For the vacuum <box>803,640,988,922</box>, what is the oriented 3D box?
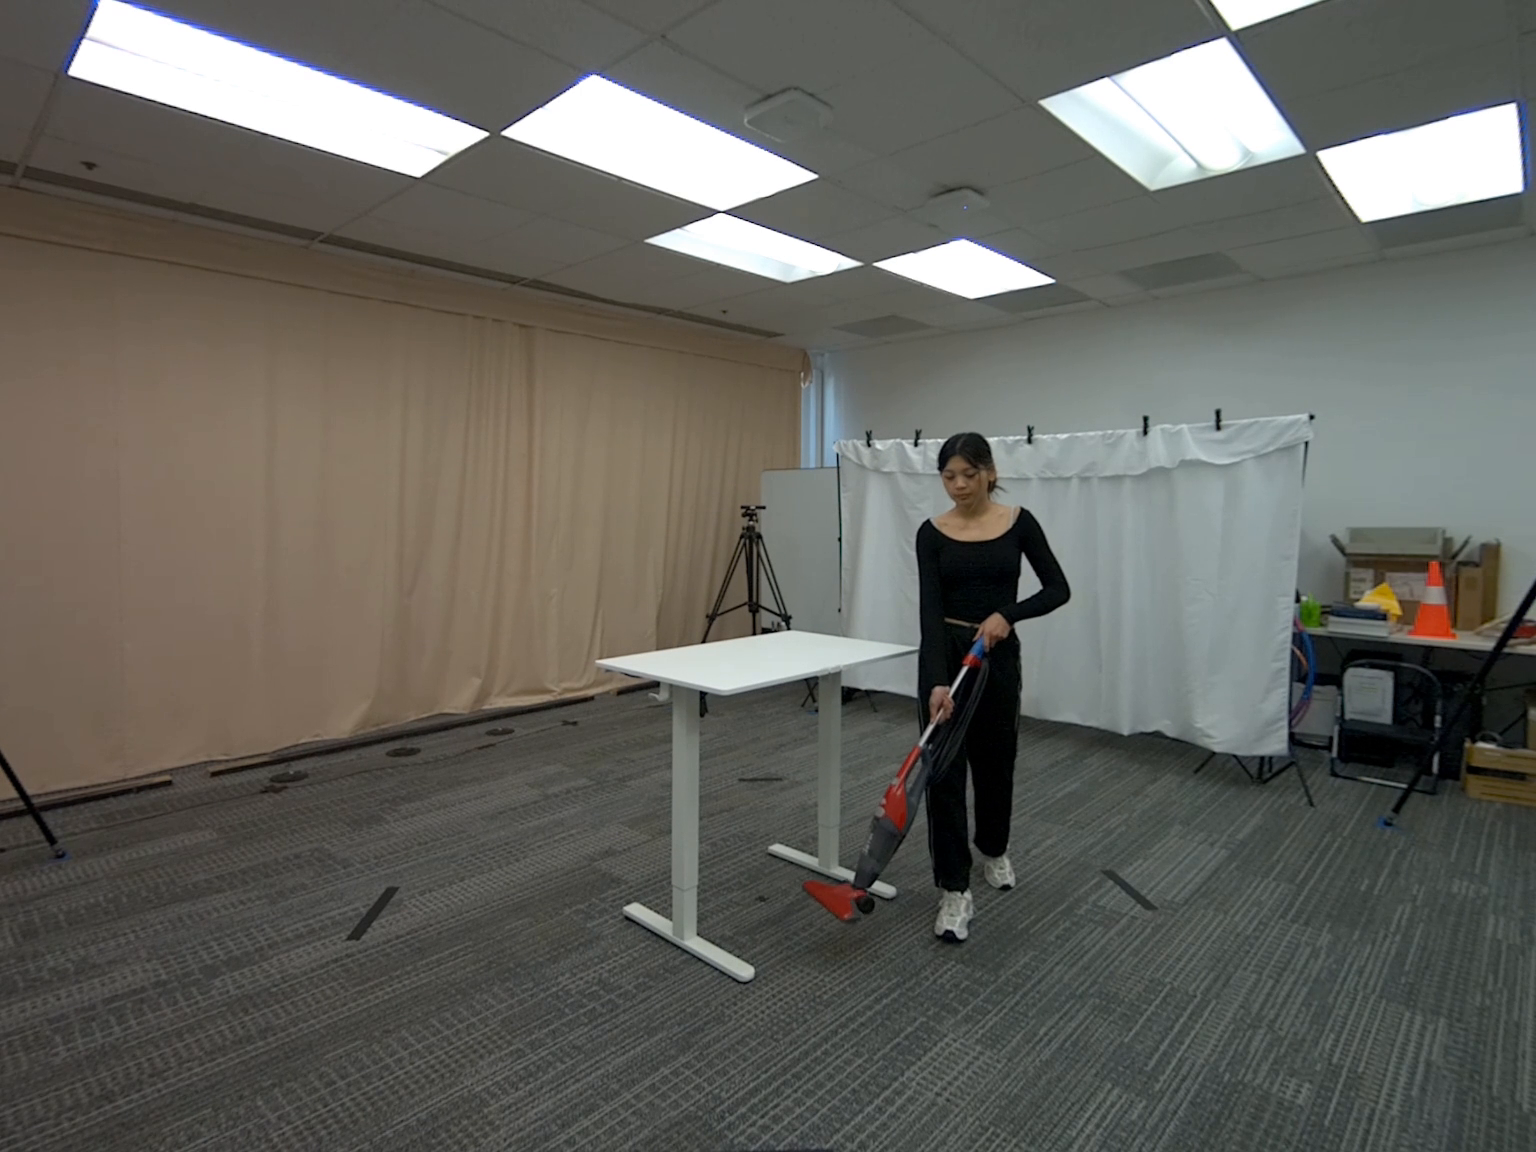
[{"bbox_3d":[0.500,0.583,2.620,0.140,1.048,0.260,42,-13,-29],"label":"vacuum"}]
